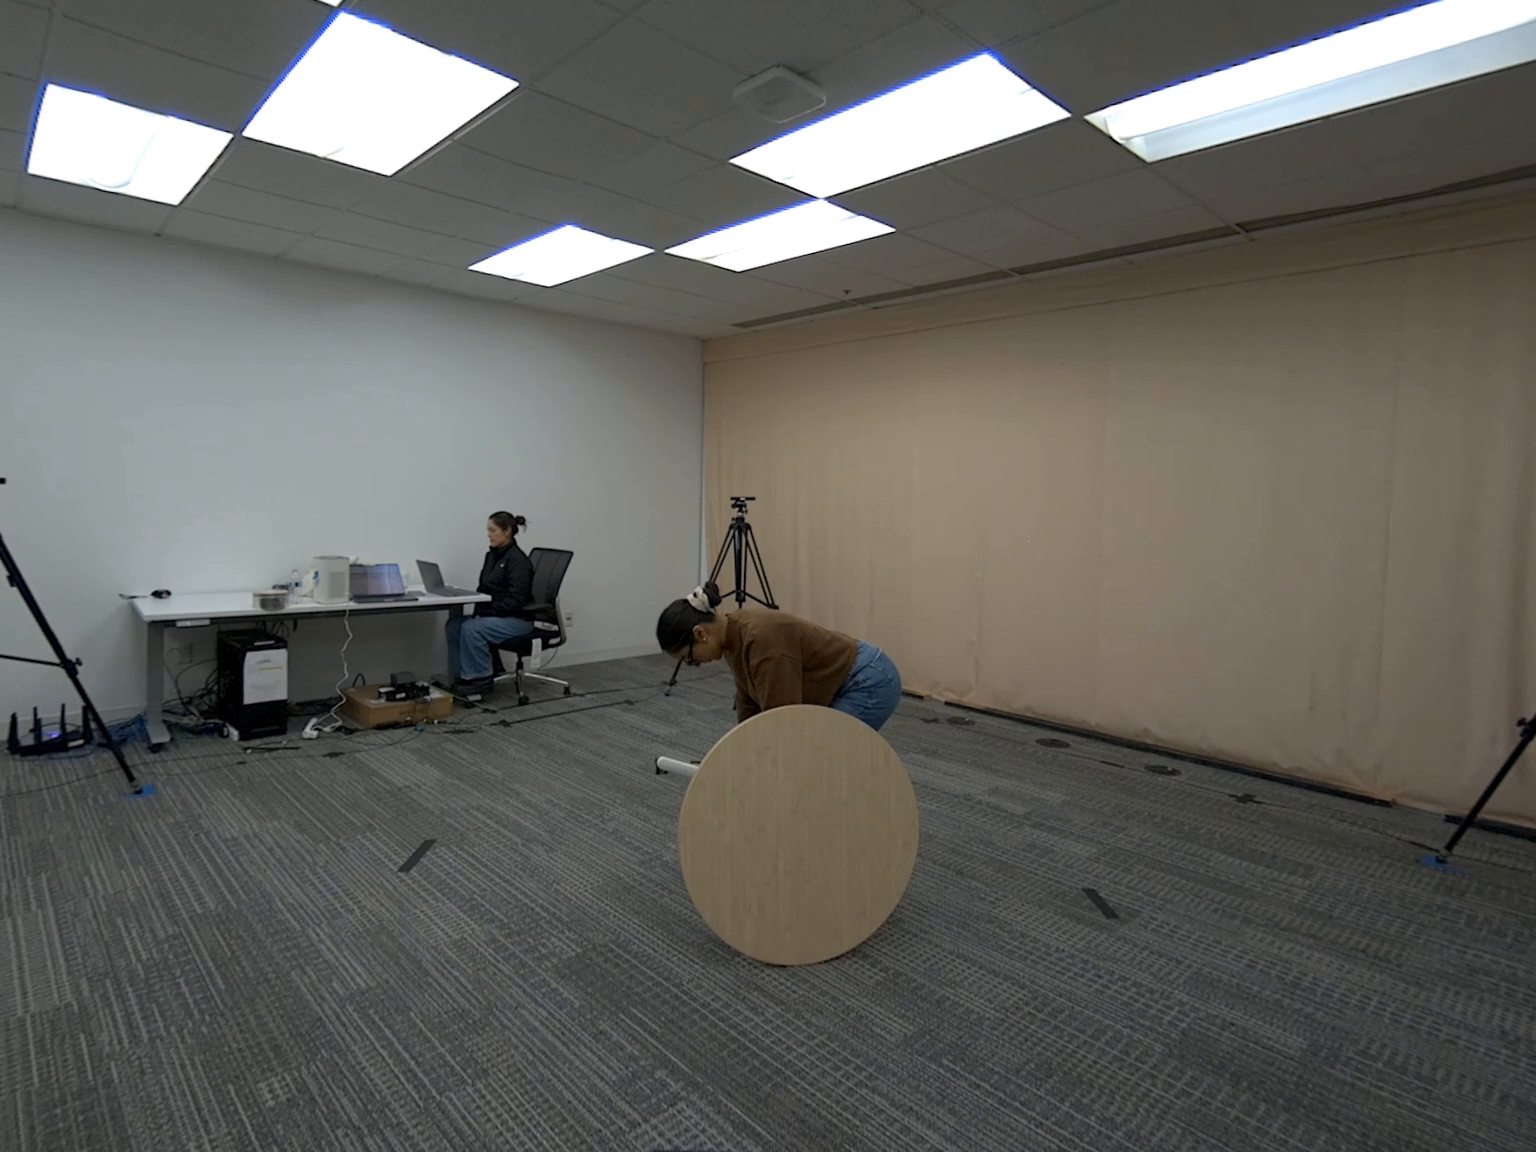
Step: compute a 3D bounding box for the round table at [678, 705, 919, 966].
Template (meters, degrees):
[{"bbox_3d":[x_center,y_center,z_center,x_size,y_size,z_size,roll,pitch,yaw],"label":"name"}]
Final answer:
[{"bbox_3d":[-0.005,0.801,2.939,0.755,0.766,0.800,0,-3,-14],"label":"round table"}]
